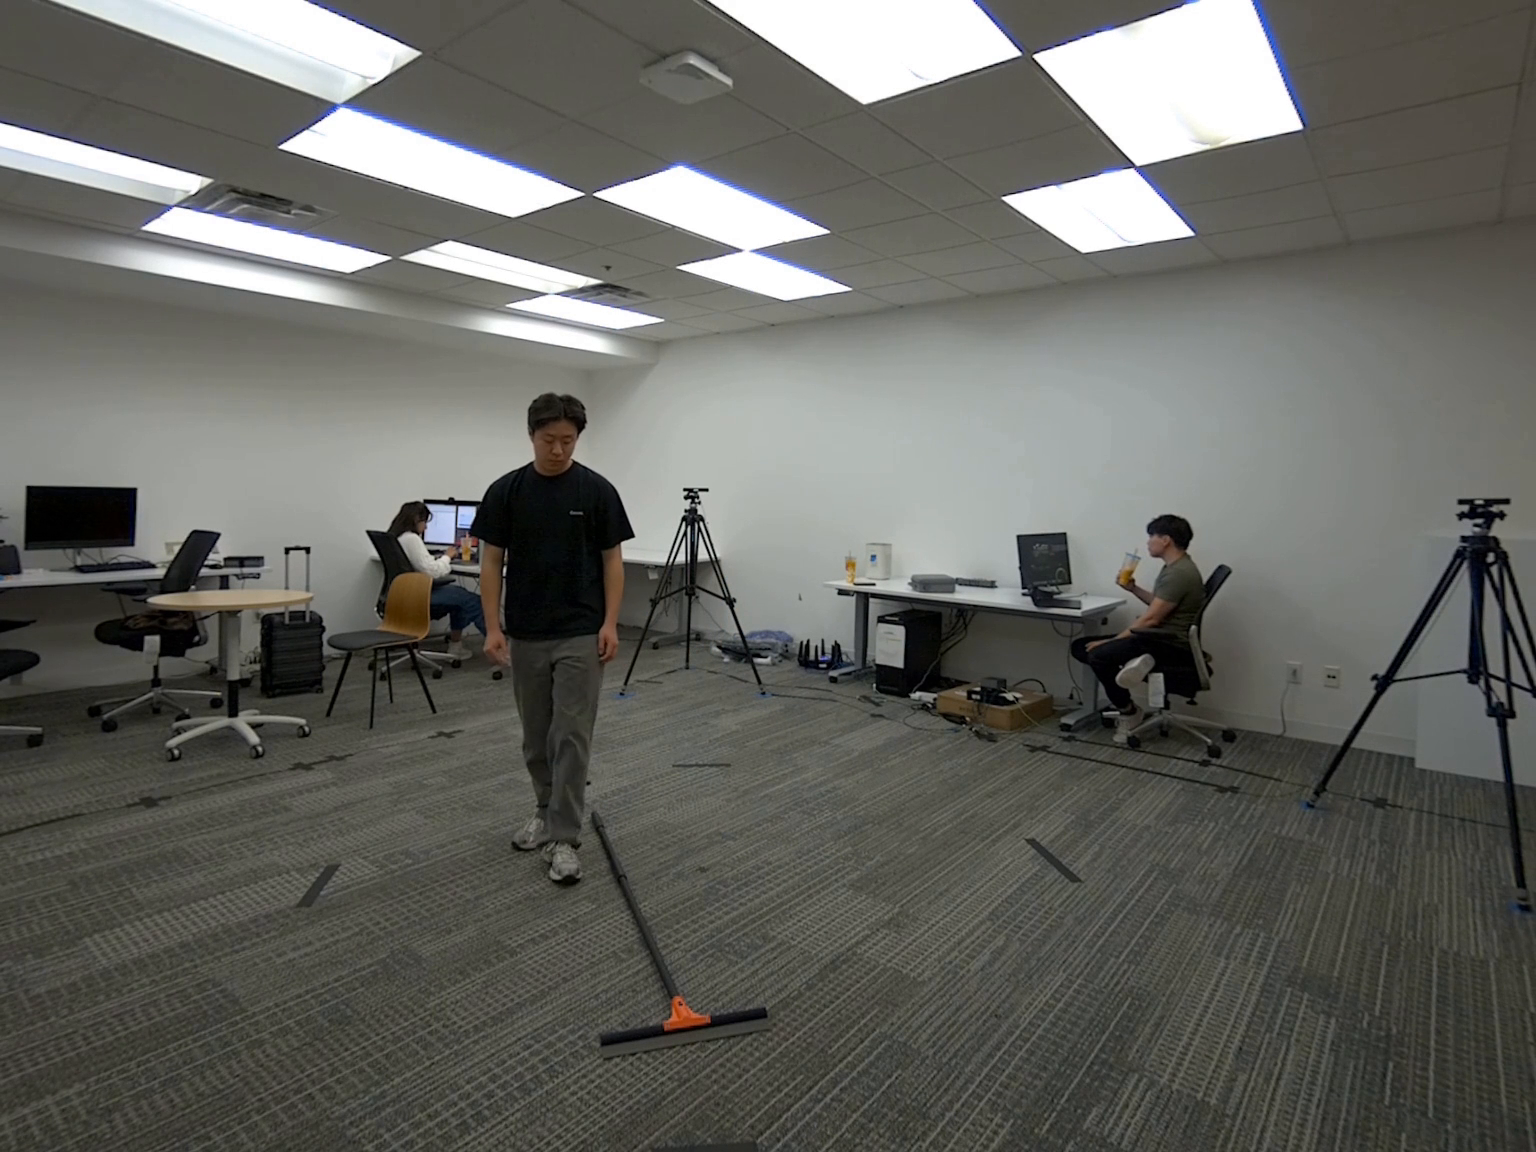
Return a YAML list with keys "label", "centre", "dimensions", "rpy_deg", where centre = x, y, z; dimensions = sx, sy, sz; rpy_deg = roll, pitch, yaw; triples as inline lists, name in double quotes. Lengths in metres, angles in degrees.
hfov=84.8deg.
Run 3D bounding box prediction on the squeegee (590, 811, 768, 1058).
- label: "squeegee"
  centre: [-0.485, 1.037, 2.858]
  dimensions: [0.429, 0.052, 1.577]
  rpy_deg: [-2, 7, -22]
